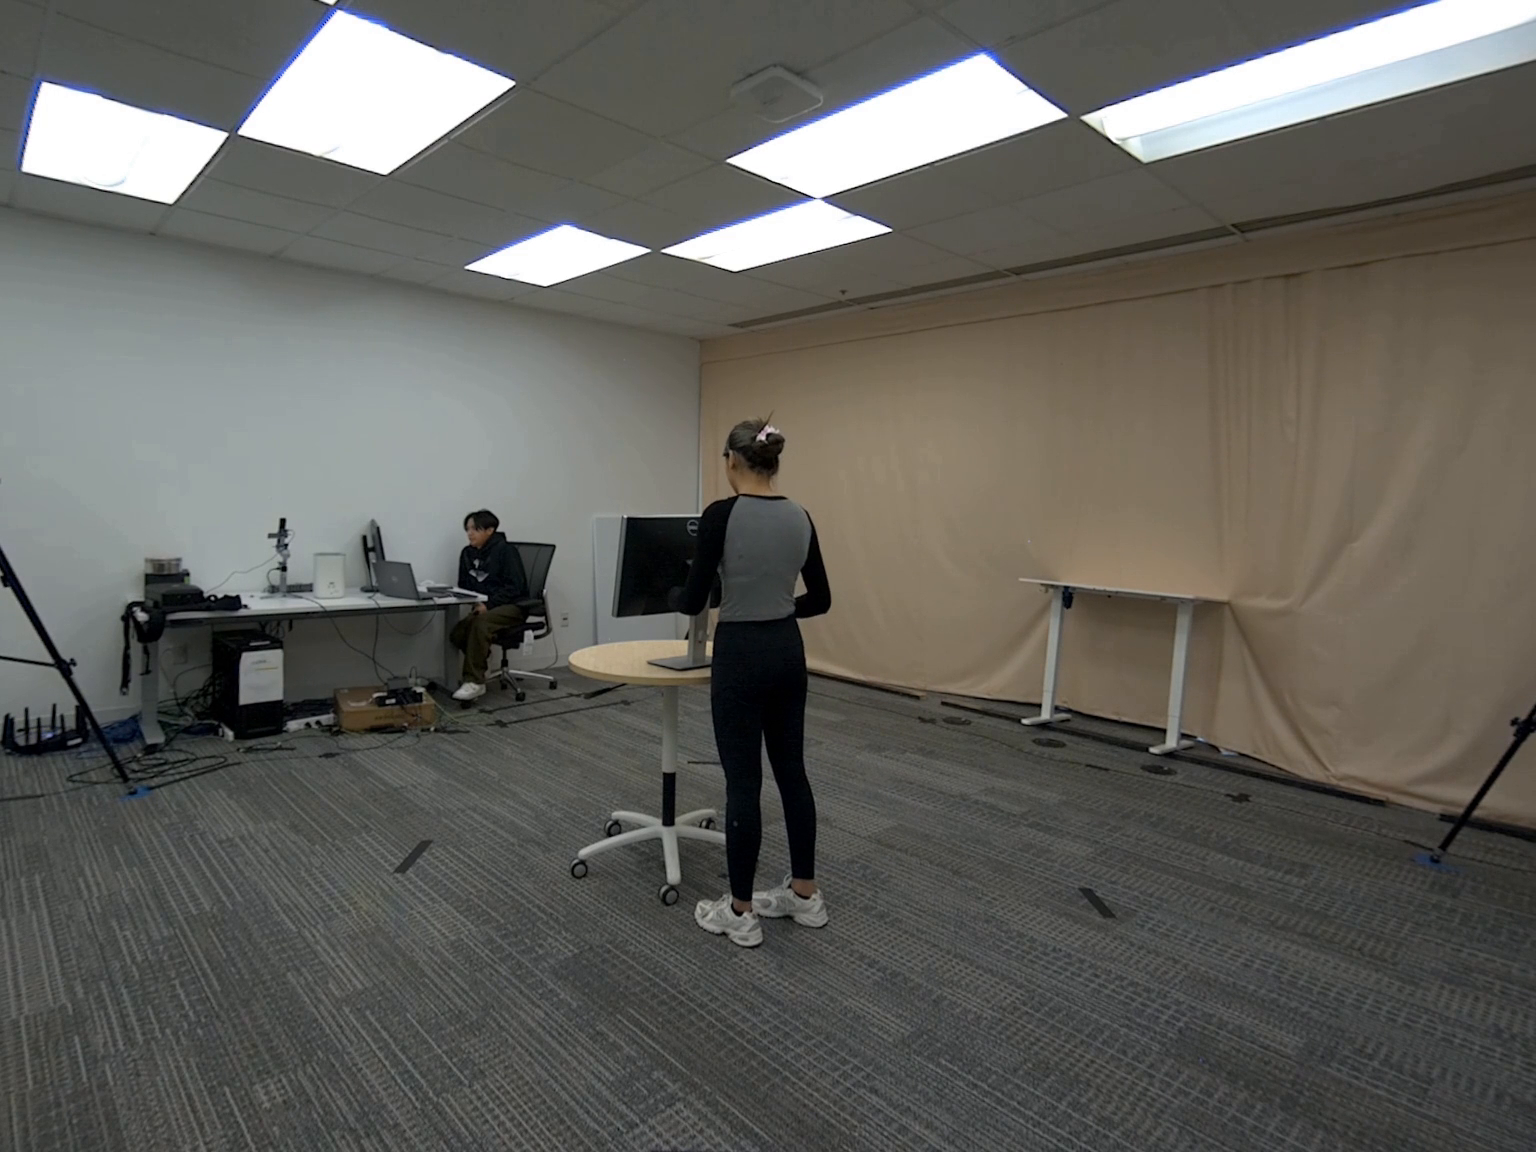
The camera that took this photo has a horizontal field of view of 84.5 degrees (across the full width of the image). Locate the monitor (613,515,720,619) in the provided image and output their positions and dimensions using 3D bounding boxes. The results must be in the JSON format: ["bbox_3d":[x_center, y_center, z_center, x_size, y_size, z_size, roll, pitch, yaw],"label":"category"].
[{"bbox_3d":[-0.289,0.053,3.041,0.527,0.522,0.191,-3,3,-43],"label":"monitor"}]
